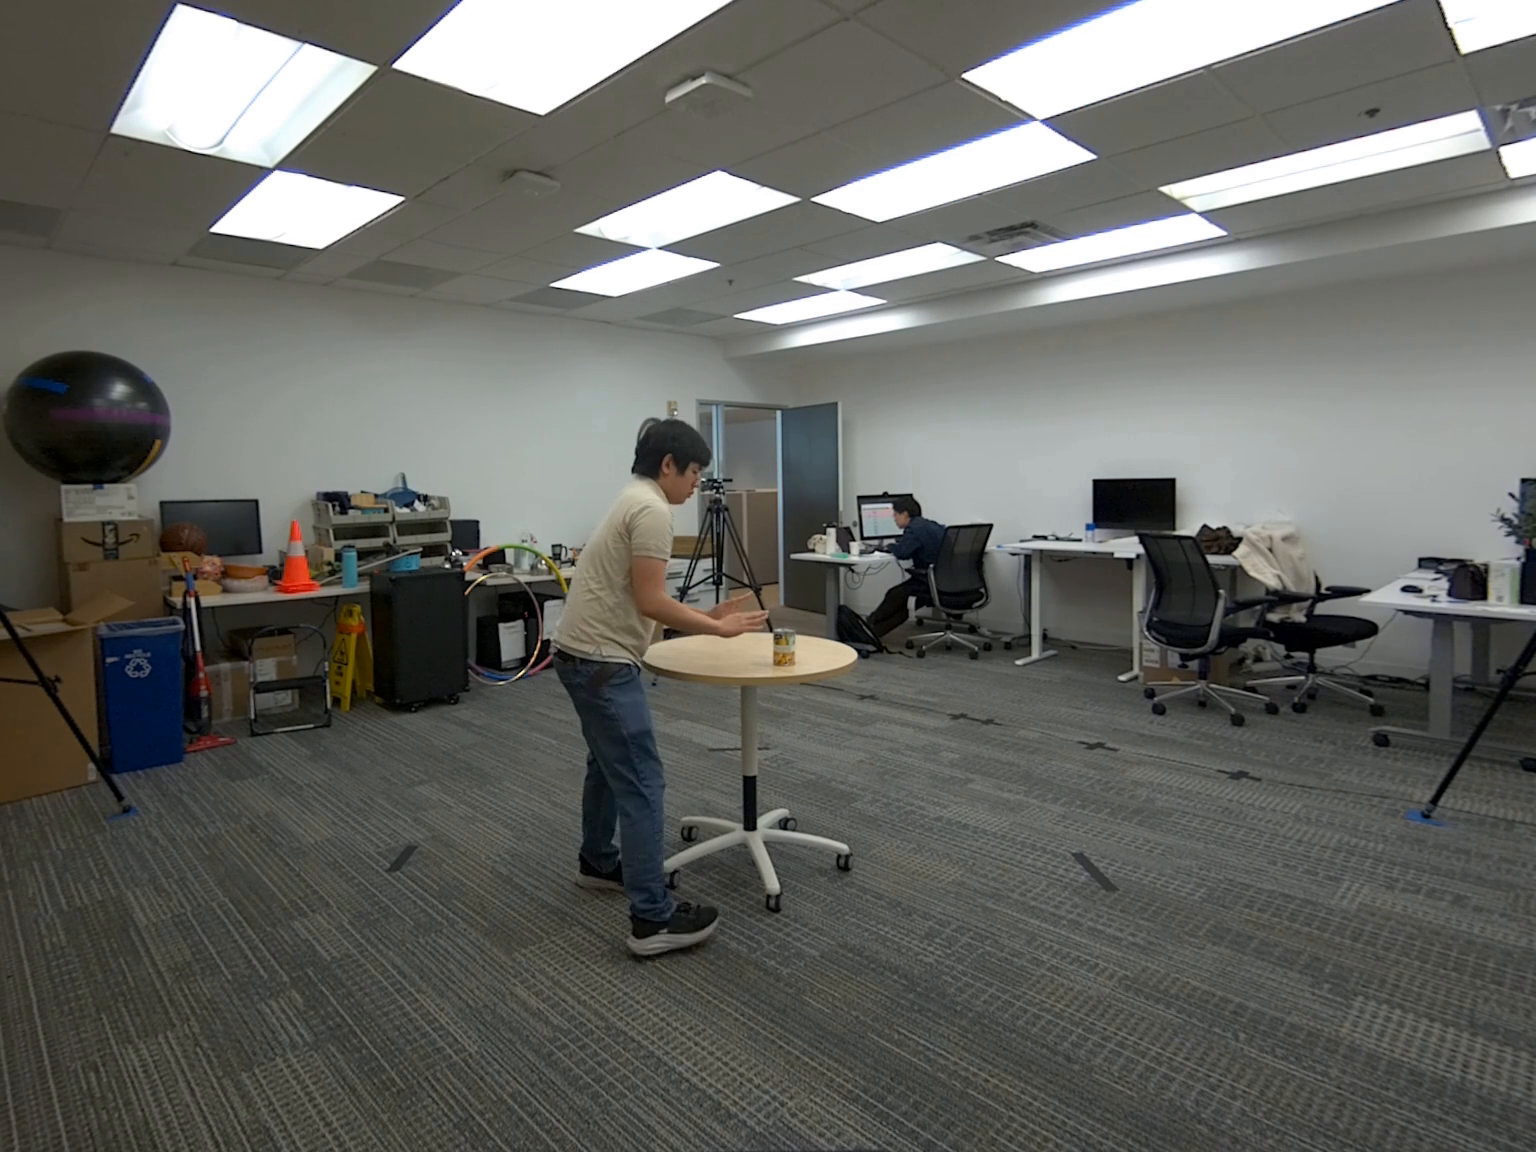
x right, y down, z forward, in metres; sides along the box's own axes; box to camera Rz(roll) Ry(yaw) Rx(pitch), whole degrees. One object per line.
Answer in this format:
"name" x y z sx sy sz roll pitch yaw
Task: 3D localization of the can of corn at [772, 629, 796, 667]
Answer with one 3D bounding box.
"can of corn" 0.052 0.236 2.831 0.074 0.110 0.074 -1 5 -2
